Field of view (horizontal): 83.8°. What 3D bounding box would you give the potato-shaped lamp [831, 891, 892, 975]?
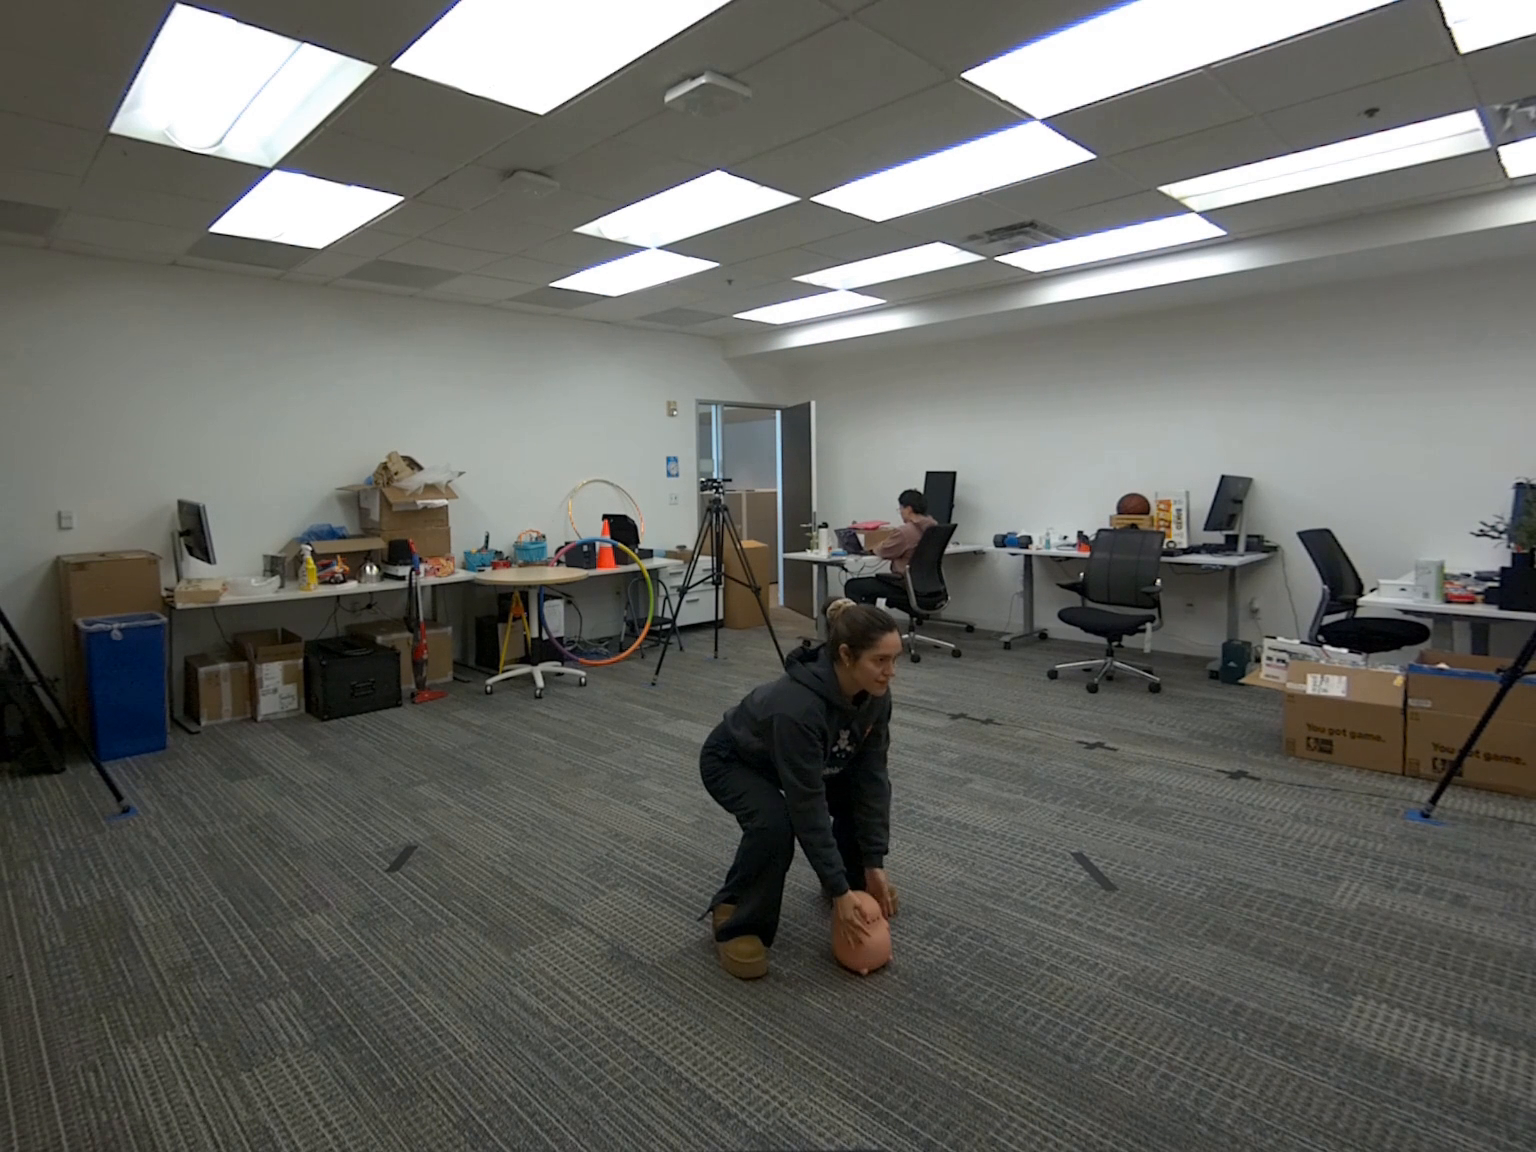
[{"bbox_3d":[0.264,1.007,2.440,0.160,0.197,0.176,-6,6,-36],"label":"potato-shaped lamp"}]
